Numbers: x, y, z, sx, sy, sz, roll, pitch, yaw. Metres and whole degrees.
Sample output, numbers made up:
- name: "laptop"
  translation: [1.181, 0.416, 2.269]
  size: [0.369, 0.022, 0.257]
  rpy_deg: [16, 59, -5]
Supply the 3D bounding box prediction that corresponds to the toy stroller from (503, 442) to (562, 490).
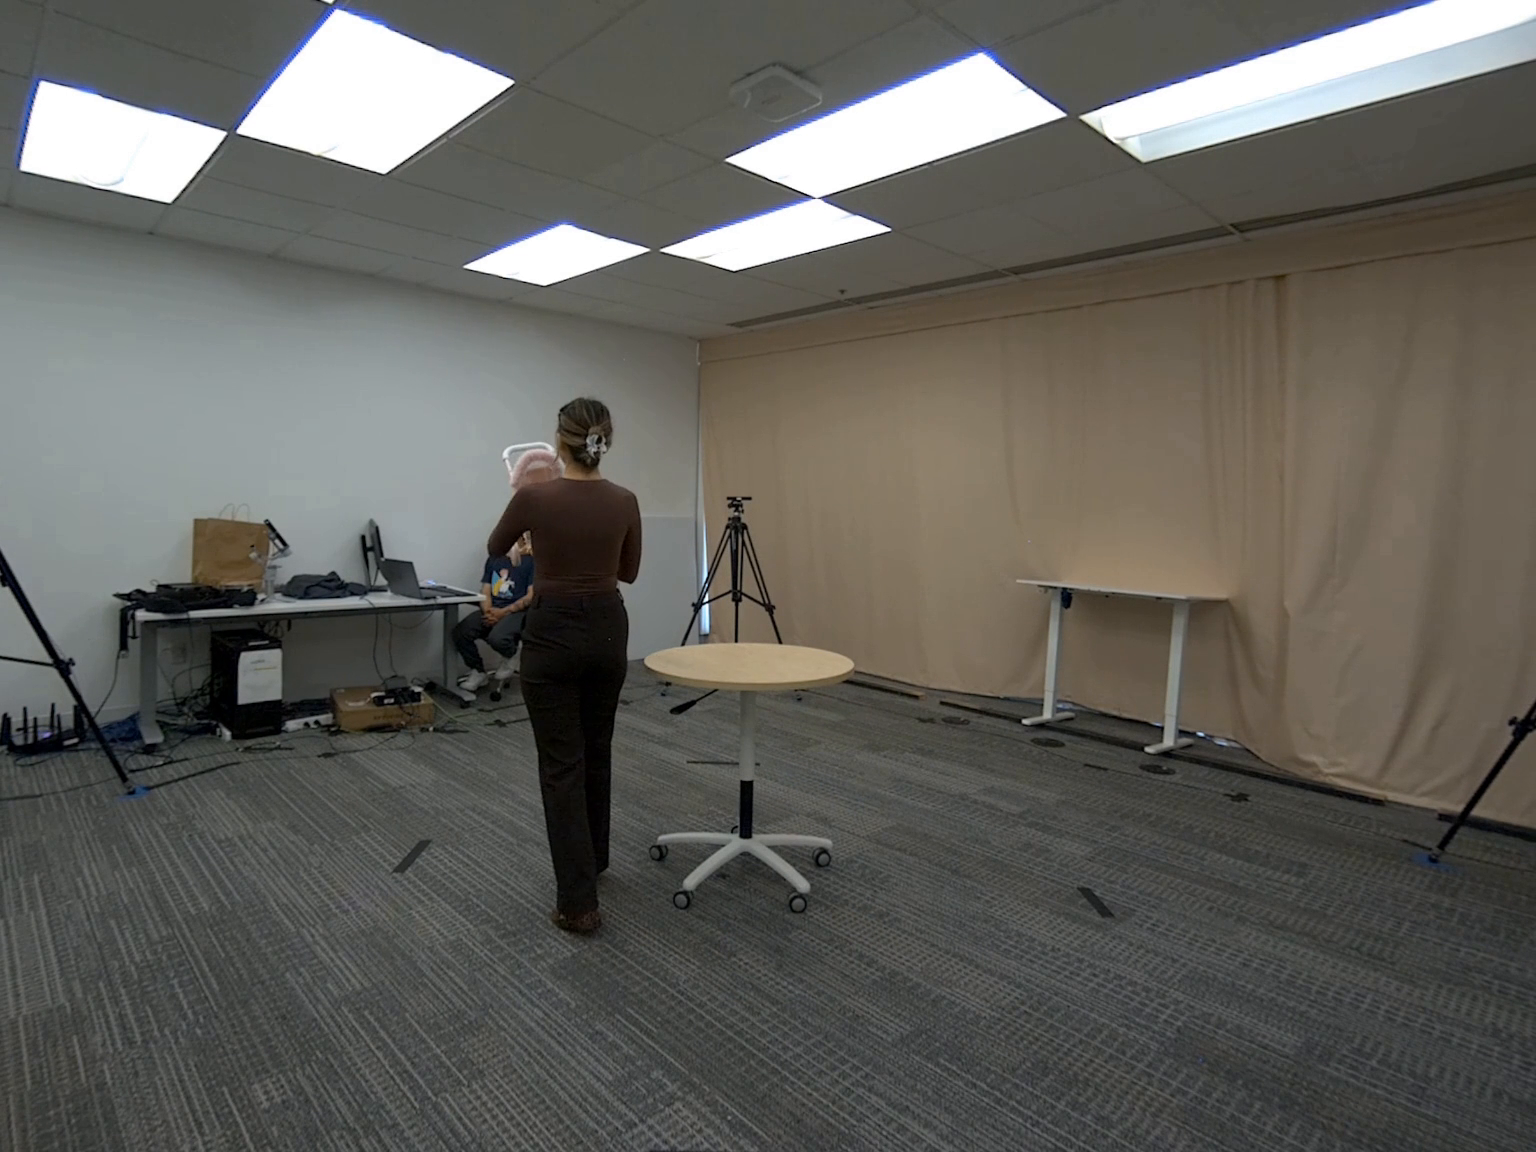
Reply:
- name: "toy stroller"
  translation: [-0.869, -0.252, 3.260]
  size: [0.278, 0.531, 0.348]
  rpy_deg: [-10, 8, -22]
